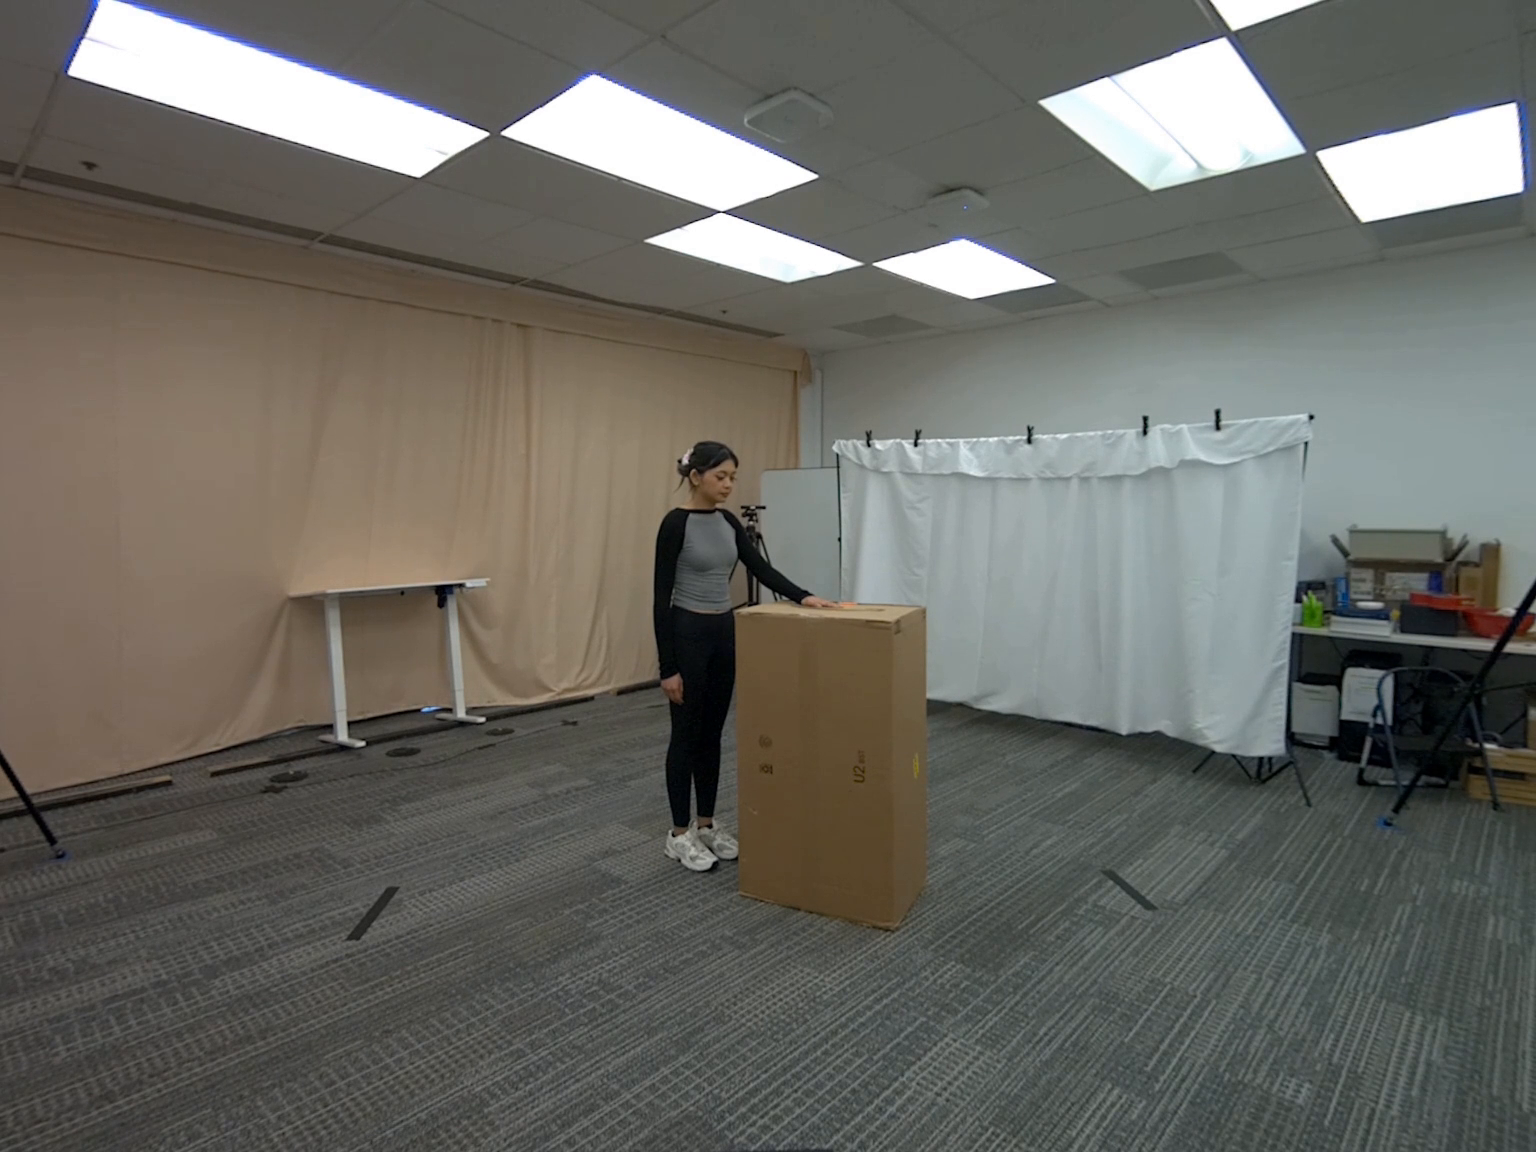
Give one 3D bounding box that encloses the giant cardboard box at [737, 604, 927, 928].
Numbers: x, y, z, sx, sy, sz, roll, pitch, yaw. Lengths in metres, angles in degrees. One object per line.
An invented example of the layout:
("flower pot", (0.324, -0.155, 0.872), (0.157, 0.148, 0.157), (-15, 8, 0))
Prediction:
("giant cardboard box", (0.244, 0.632, 3.039), (0.599, 1.024, 0.436), (1, 4, 26))
